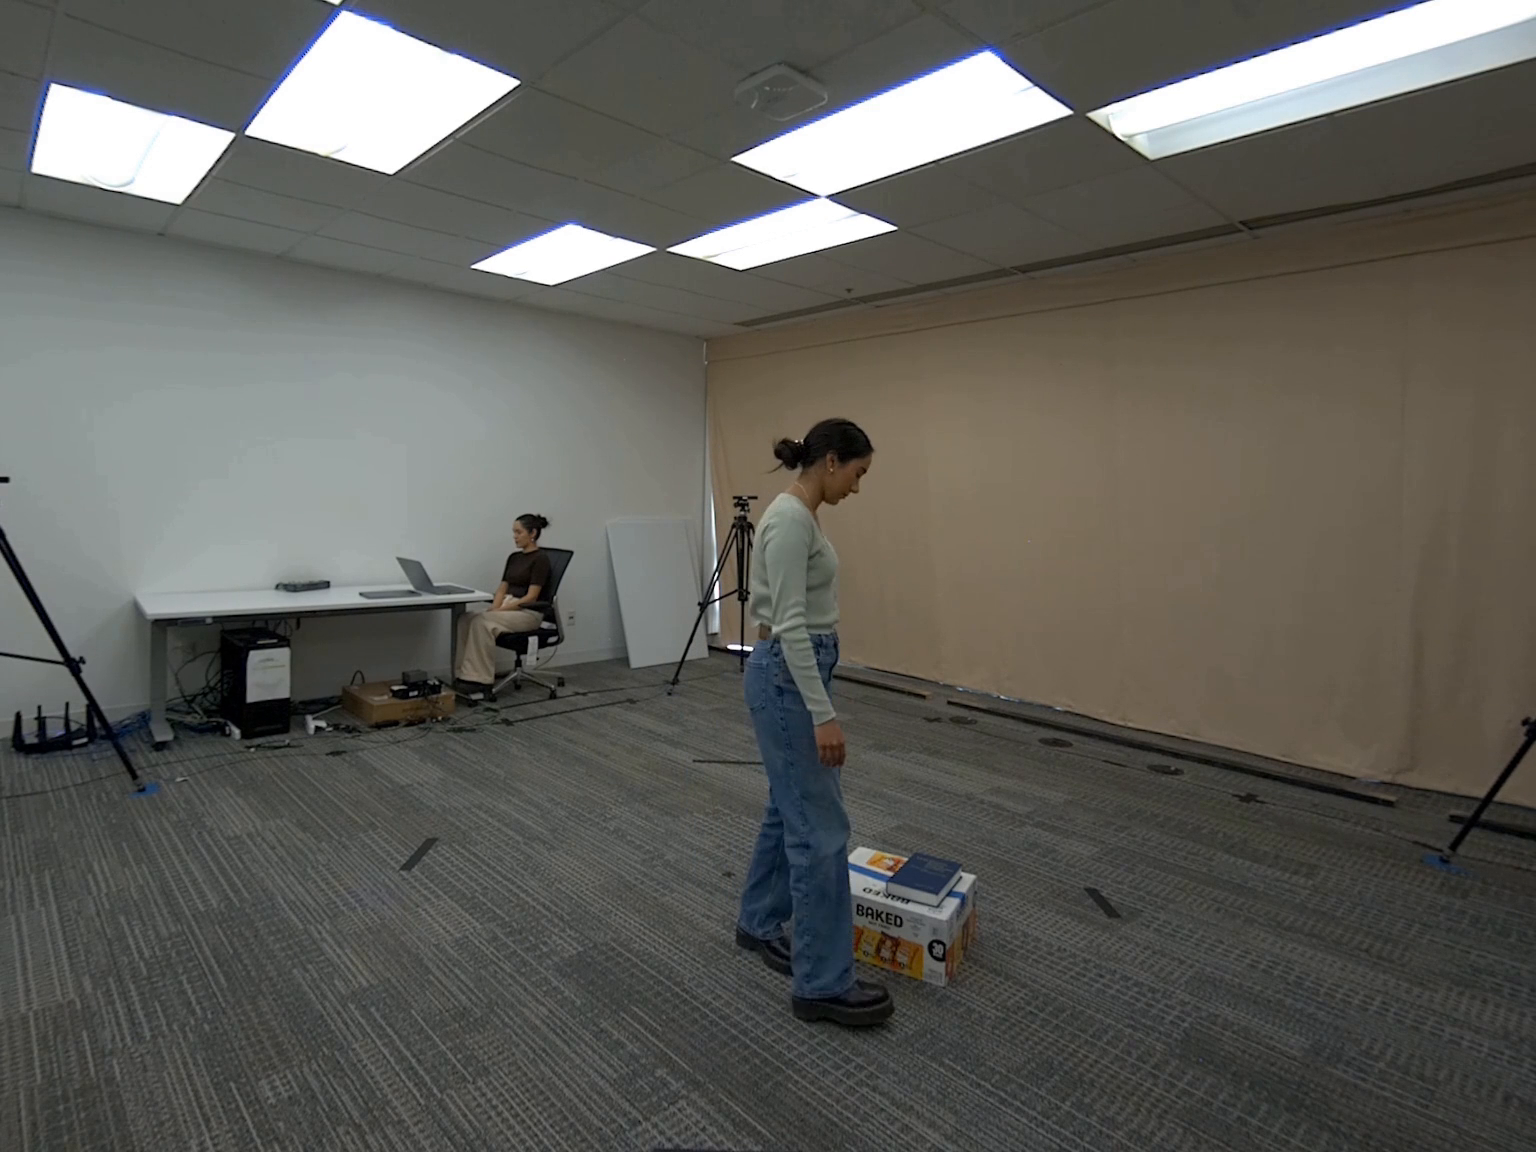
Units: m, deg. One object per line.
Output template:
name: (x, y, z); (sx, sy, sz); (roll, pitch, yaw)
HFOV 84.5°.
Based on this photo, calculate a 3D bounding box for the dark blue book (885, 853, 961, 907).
dark blue book: (0.483, 0.943, 2.622); (0.167, 0.045, 0.240); (4, 7, 30)
